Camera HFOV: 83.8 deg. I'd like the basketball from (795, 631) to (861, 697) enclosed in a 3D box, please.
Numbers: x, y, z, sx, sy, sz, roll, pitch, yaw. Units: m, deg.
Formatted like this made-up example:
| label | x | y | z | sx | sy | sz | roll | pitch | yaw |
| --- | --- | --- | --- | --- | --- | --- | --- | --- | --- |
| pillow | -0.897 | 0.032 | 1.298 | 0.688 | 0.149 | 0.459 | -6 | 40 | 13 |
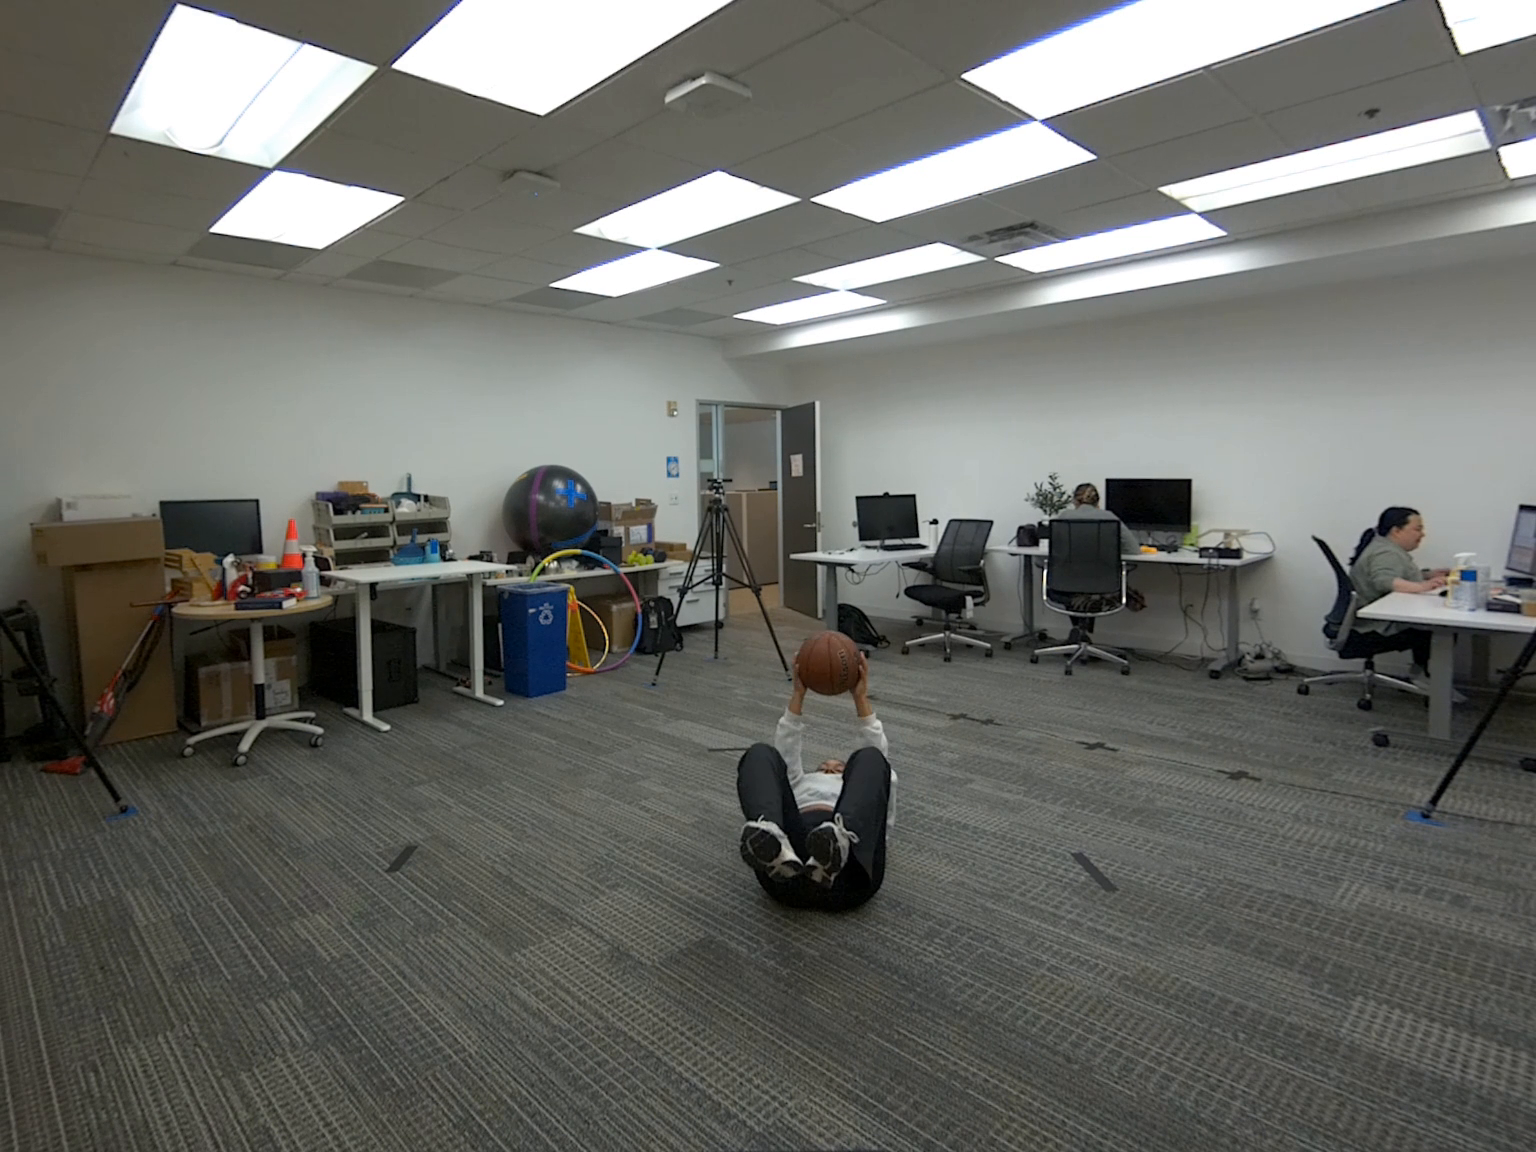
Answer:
| label | x | y | z | sx | sy | sz | roll | pitch | yaw |
| --- | --- | --- | --- | --- | --- | --- | --- | --- | --- |
| basketball | 0.234 | 0.331 | 3.177 | 0.236 | 0.235 | 0.237 | -1 | 4 | -2 |
